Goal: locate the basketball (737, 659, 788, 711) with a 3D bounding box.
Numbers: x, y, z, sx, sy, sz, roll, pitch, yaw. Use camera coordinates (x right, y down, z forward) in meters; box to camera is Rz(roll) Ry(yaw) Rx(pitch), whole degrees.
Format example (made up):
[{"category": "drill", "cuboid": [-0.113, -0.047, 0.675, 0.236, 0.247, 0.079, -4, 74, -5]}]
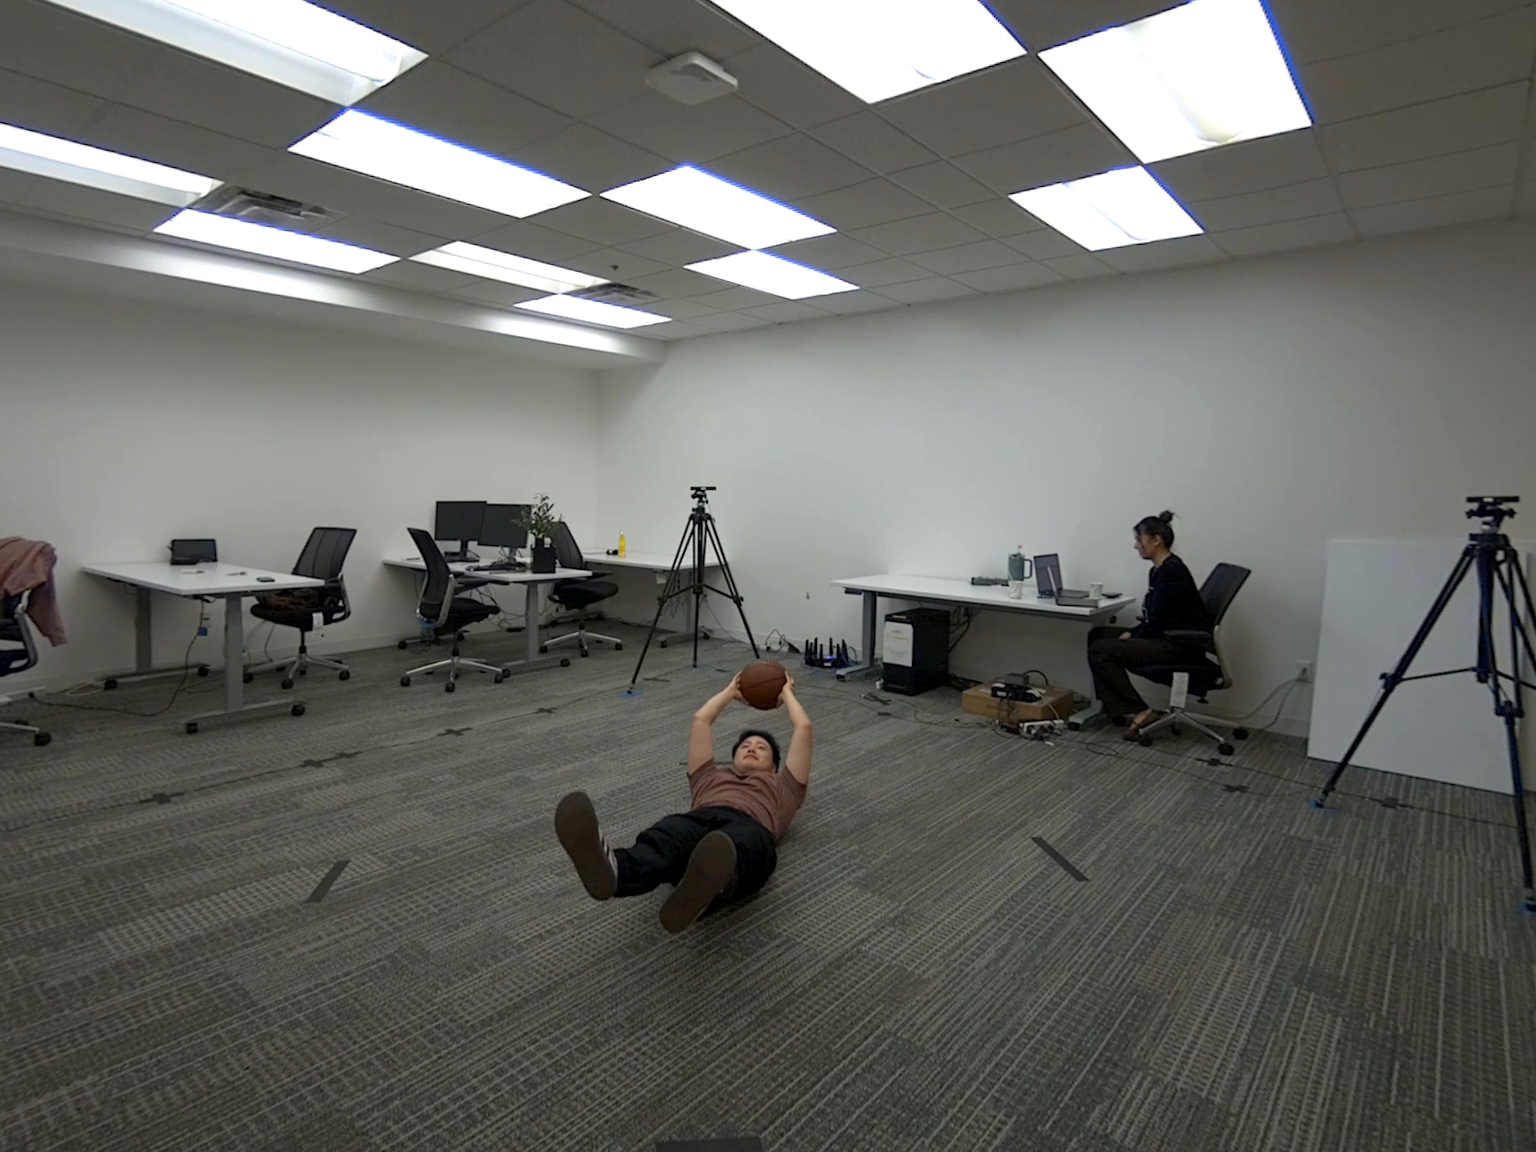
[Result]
[{"category": "basketball", "cuboid": [-0.027, 0.492, 3.879, 0.236, 0.235, 0.237, -3, 3, -2]}]
